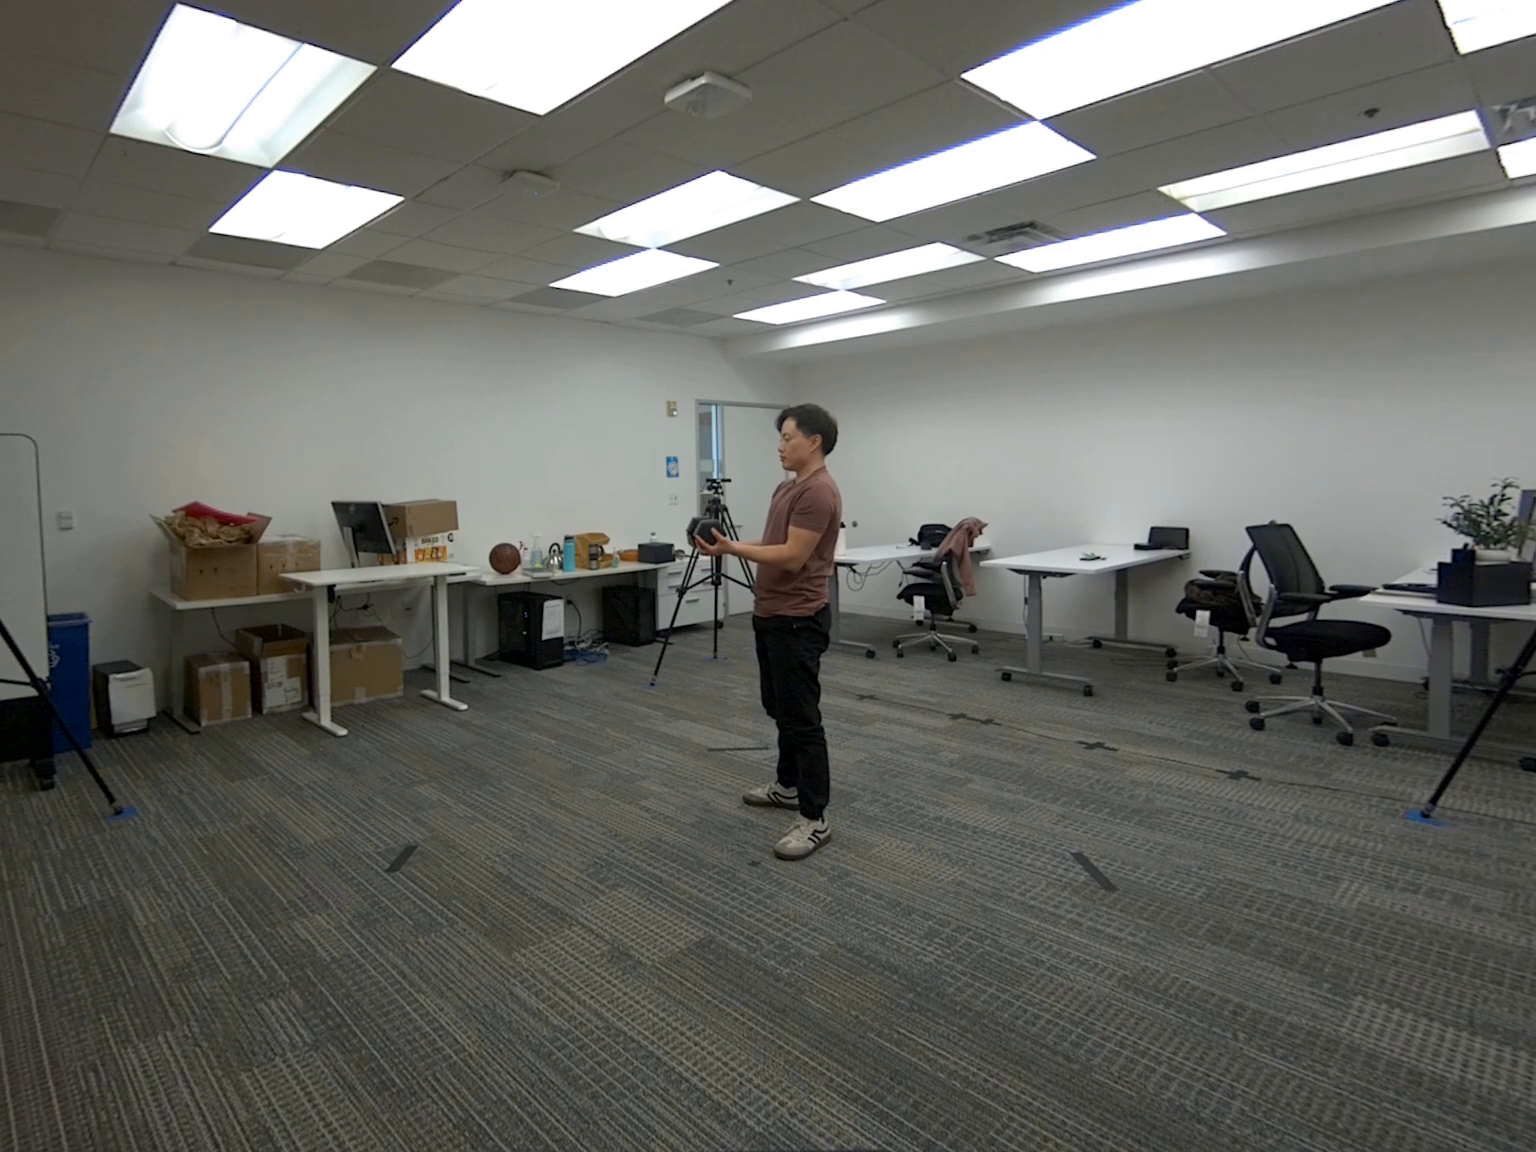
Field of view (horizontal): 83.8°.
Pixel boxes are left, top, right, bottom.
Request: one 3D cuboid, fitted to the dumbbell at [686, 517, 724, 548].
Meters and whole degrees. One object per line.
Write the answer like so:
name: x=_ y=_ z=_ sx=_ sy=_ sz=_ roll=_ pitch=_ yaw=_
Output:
dumbbell: x=-0.239 y=-0.171 z=3.334 sx=0.122 sy=0.108 sz=0.298 roll=-5 pitch=8 yaw=-11
